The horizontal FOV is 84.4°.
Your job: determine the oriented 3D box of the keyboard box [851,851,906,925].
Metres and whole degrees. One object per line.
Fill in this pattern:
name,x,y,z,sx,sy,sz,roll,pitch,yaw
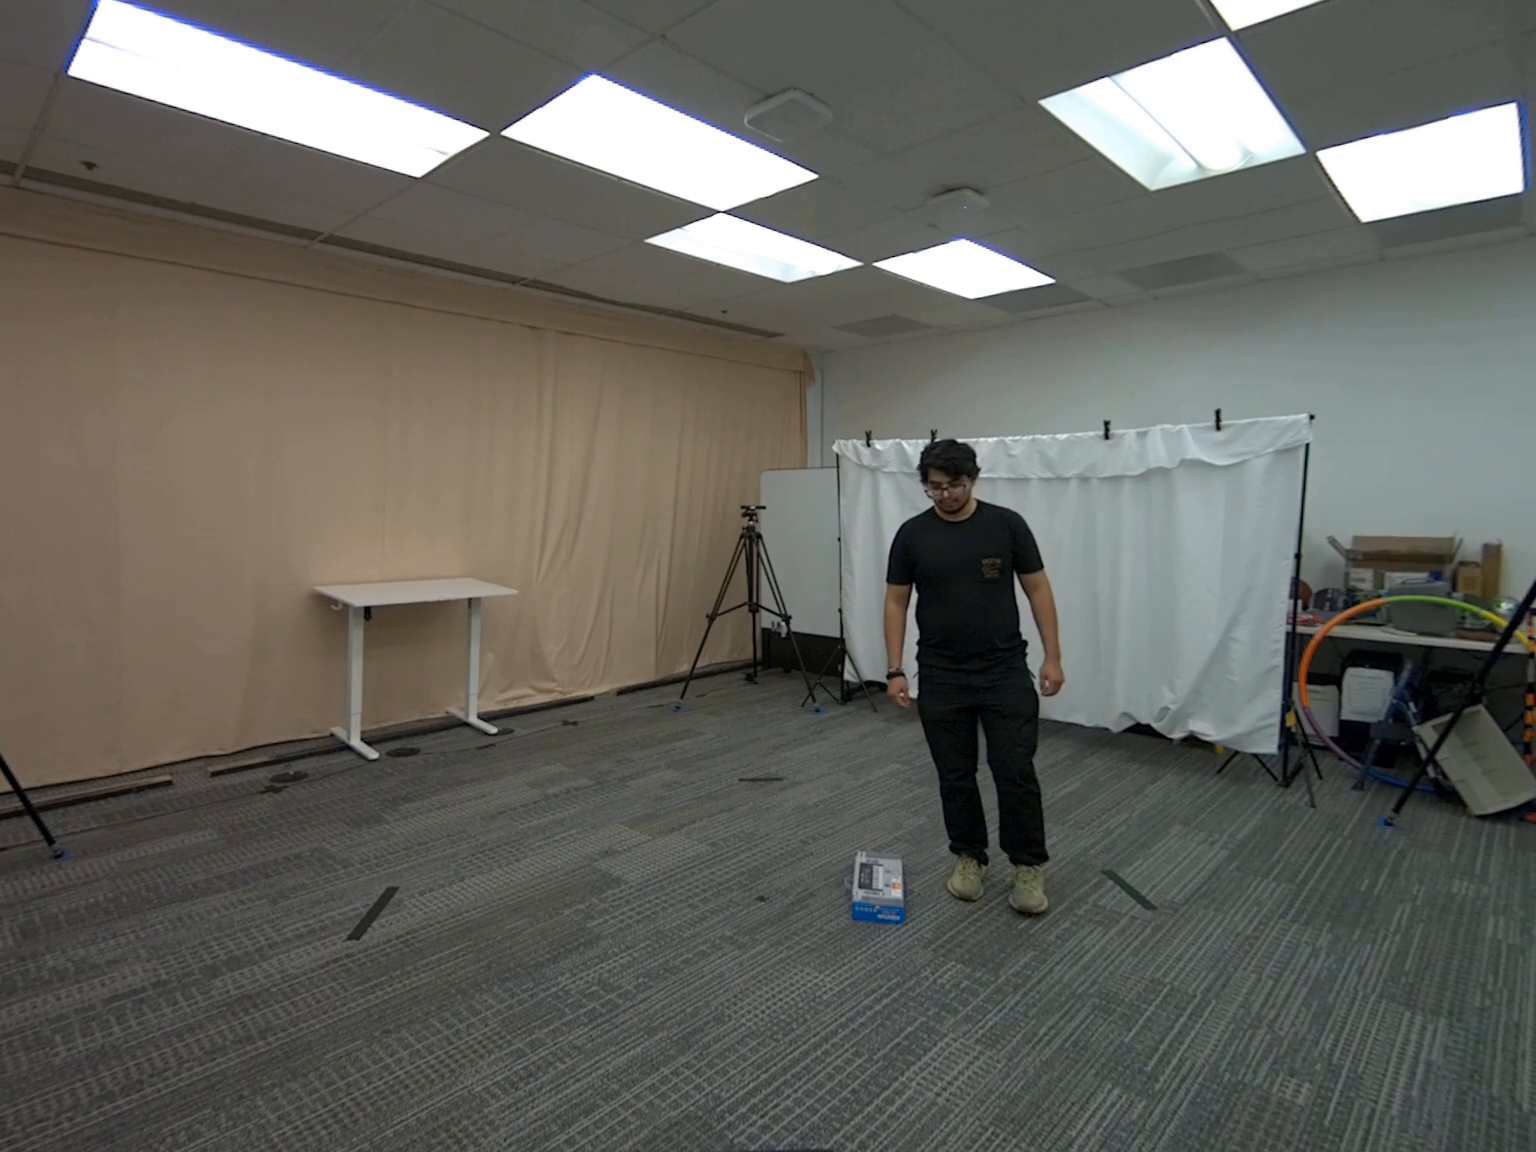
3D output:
keyboard box,0.403,1.111,3.024,0.178,0.059,0.433,1,5,8
